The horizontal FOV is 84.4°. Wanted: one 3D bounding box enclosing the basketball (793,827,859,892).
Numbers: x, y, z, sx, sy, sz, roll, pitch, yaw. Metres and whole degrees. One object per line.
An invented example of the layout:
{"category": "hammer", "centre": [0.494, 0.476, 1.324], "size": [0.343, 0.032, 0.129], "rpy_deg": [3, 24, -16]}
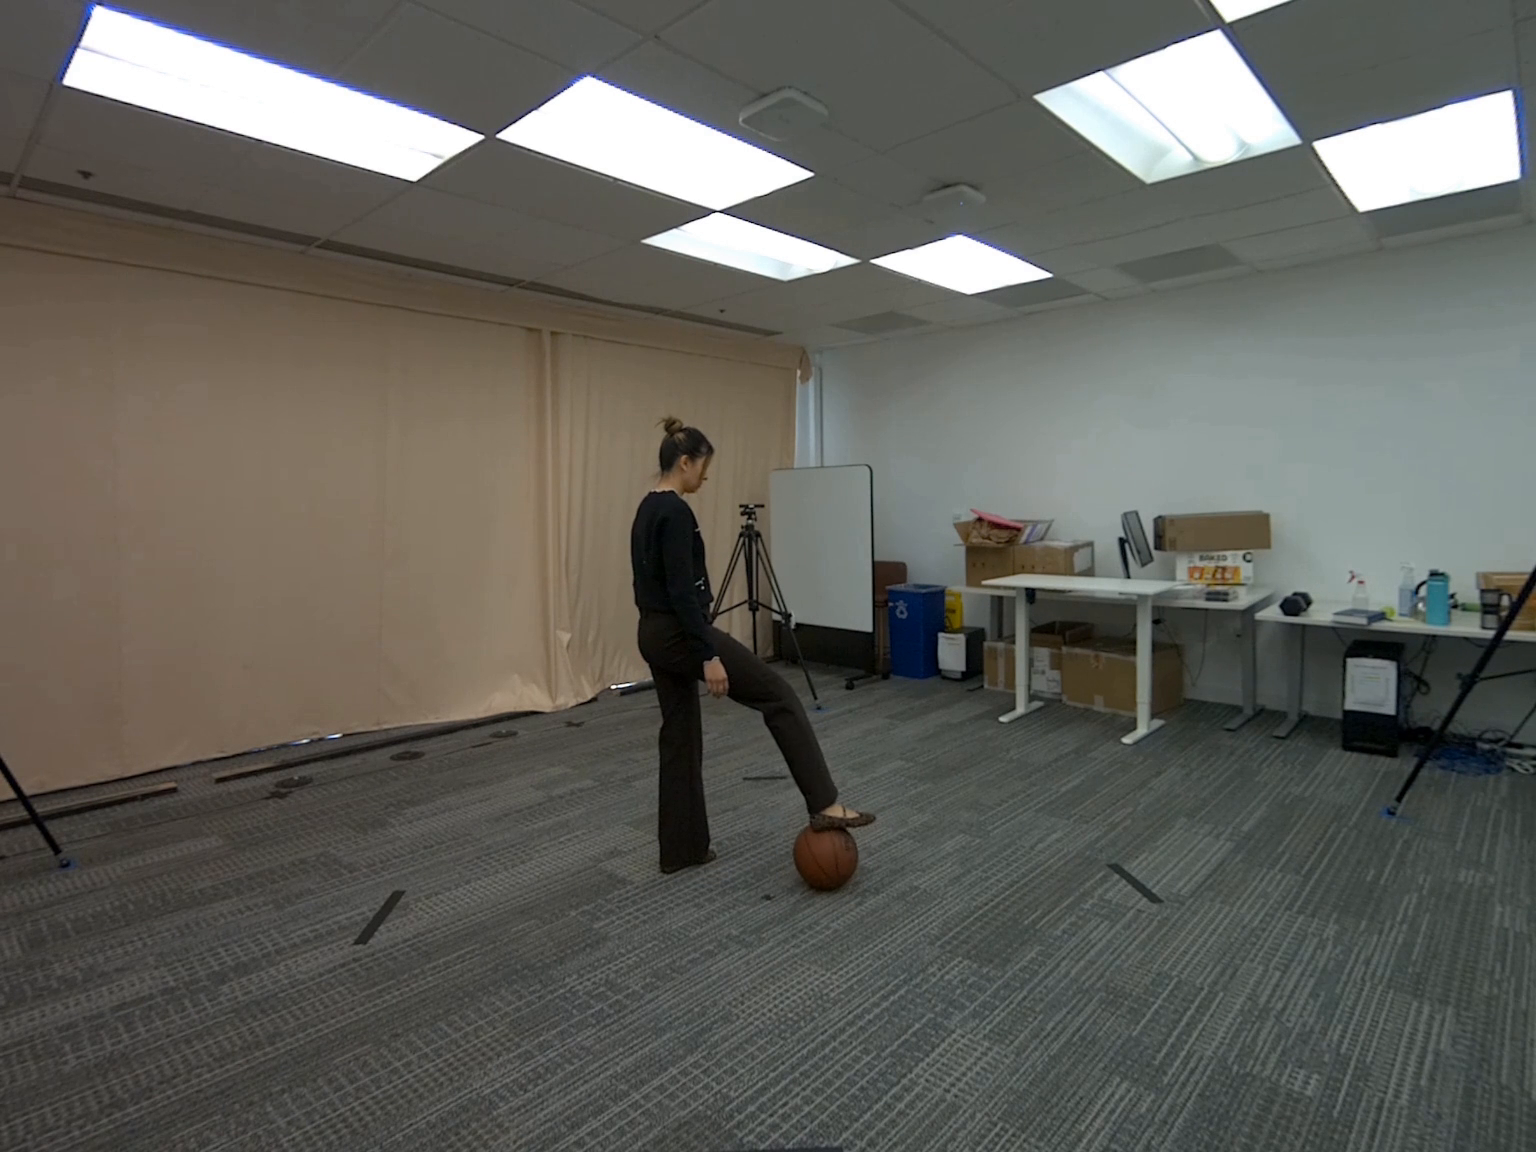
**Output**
{"category": "basketball", "centre": [0.214, 1.011, 3.069], "size": [0.236, 0.235, 0.237], "rpy_deg": [-1, 4, -2]}
